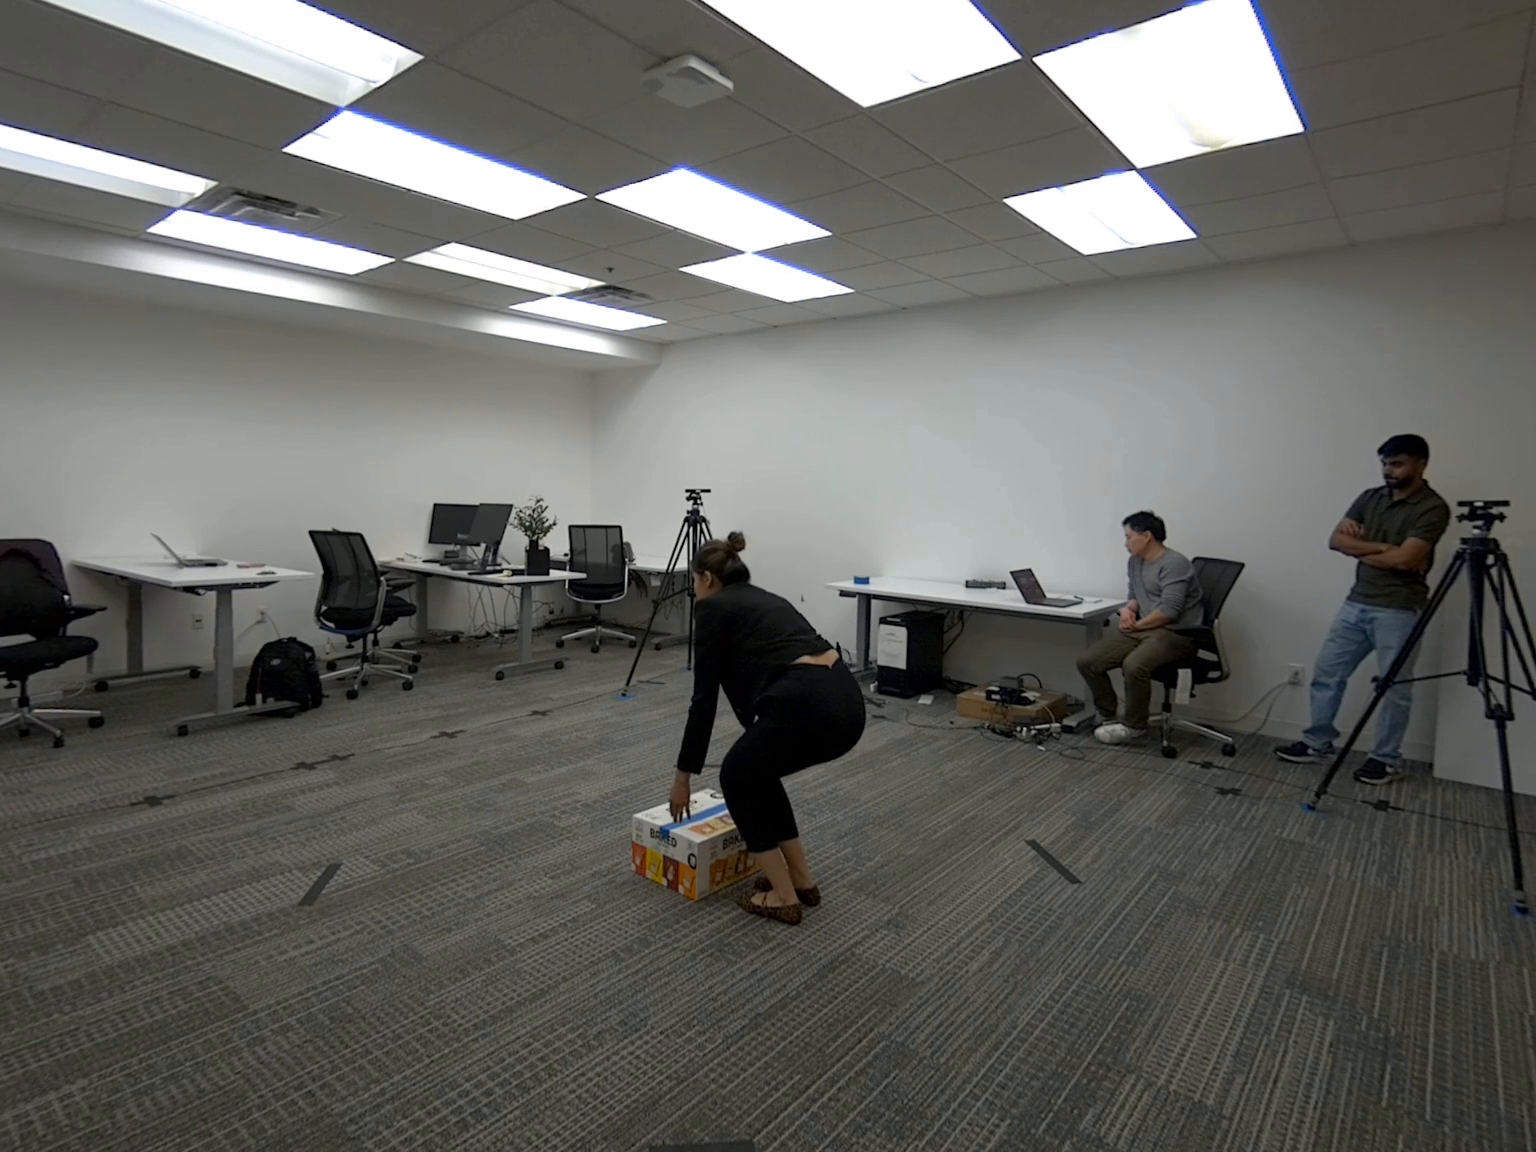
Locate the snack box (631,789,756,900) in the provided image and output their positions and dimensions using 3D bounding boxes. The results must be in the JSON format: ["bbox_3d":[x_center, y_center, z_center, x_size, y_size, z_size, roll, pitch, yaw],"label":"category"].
[{"bbox_3d":[-0.250,0.968,3.124,0.352,0.205,0.393,5,7,41],"label":"snack box"}]
